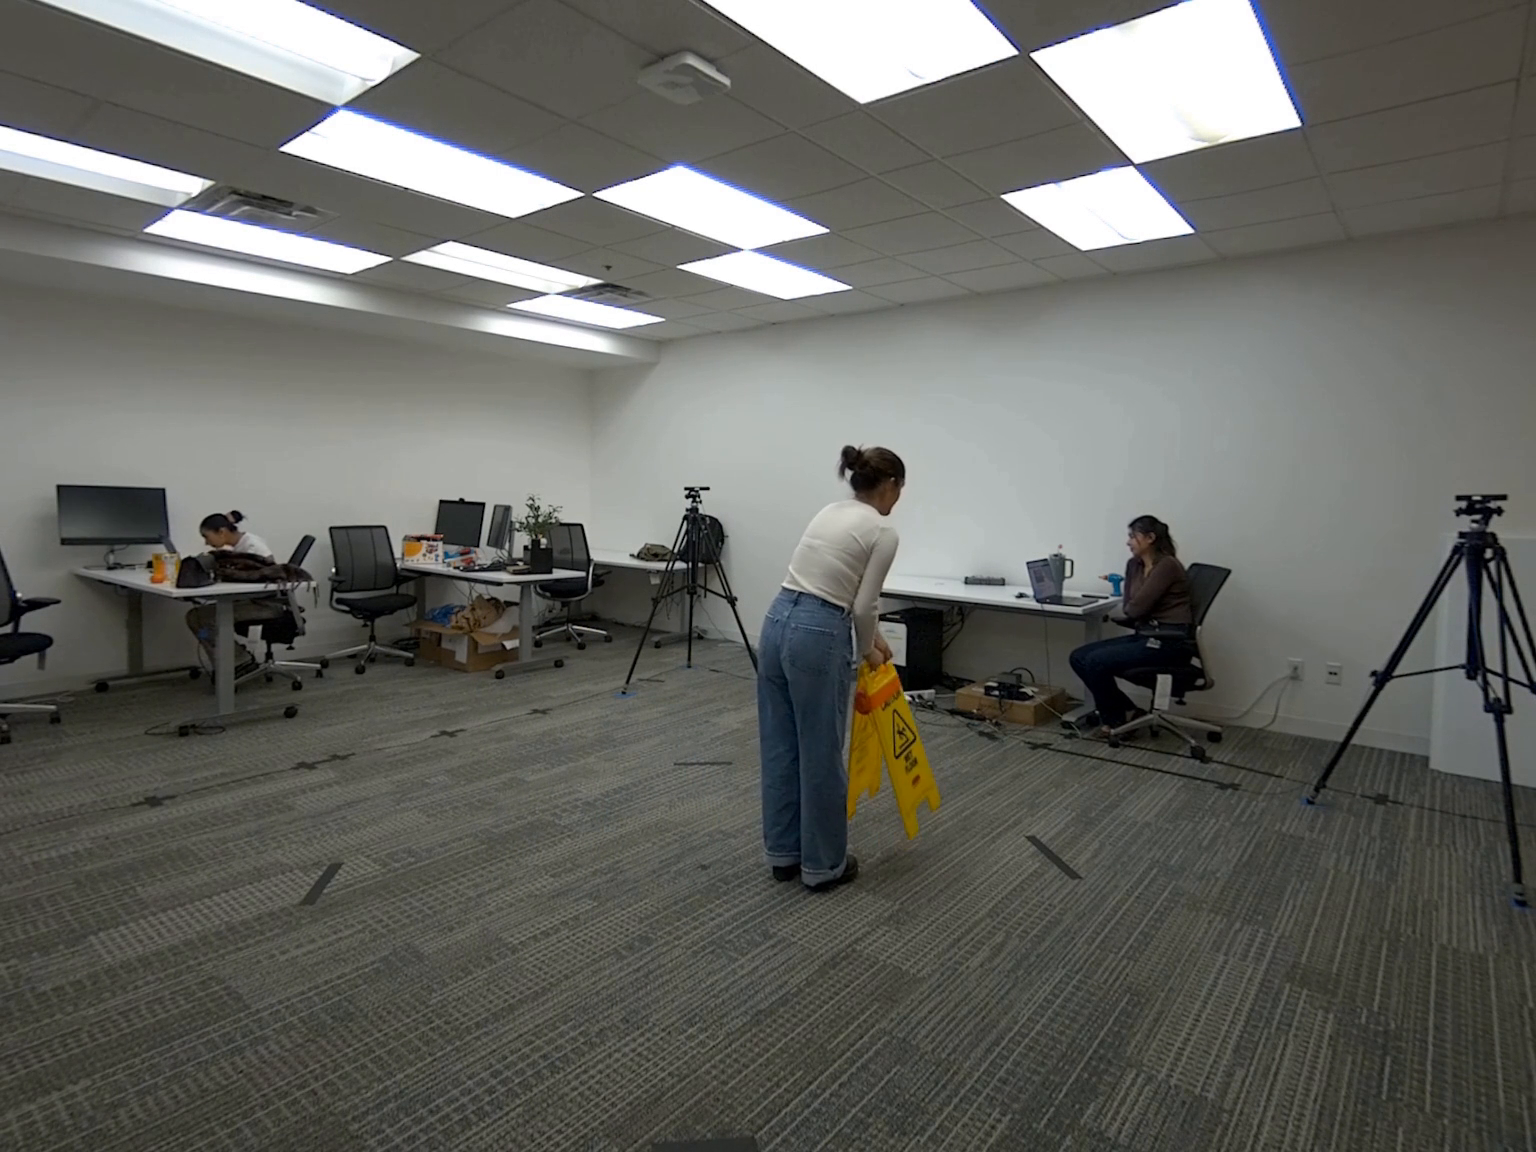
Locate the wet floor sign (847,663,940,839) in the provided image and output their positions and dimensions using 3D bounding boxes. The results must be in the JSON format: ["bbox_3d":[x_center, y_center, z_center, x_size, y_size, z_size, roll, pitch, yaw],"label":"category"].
[{"bbox_3d":[0.427,0.586,3.198,0.299,0.638,0.277,0,15,38],"label":"wet floor sign"}]
